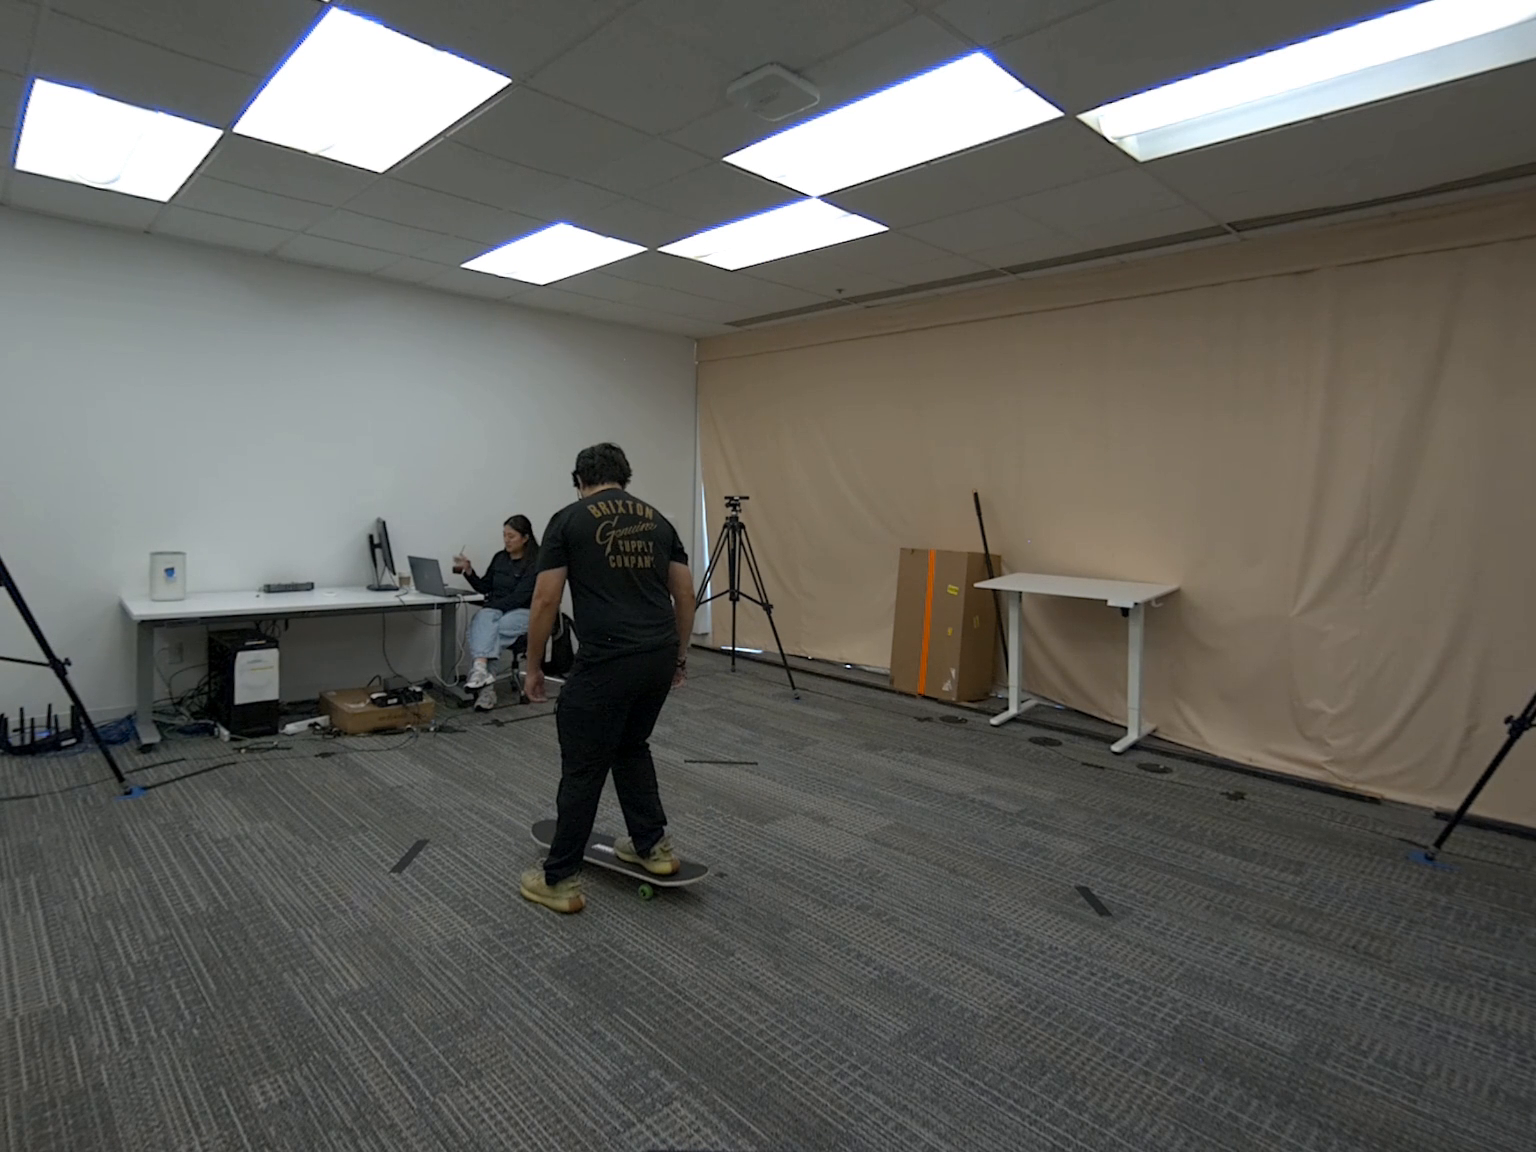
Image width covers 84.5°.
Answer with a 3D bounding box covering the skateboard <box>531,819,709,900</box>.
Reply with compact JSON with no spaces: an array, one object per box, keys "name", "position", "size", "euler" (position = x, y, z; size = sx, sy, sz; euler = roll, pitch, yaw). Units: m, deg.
[{"name":"skateboard","position":[-0.570,1.045,3.077],"size":[0.803,0.110,0.190],"euler":[5,6,31]}]
